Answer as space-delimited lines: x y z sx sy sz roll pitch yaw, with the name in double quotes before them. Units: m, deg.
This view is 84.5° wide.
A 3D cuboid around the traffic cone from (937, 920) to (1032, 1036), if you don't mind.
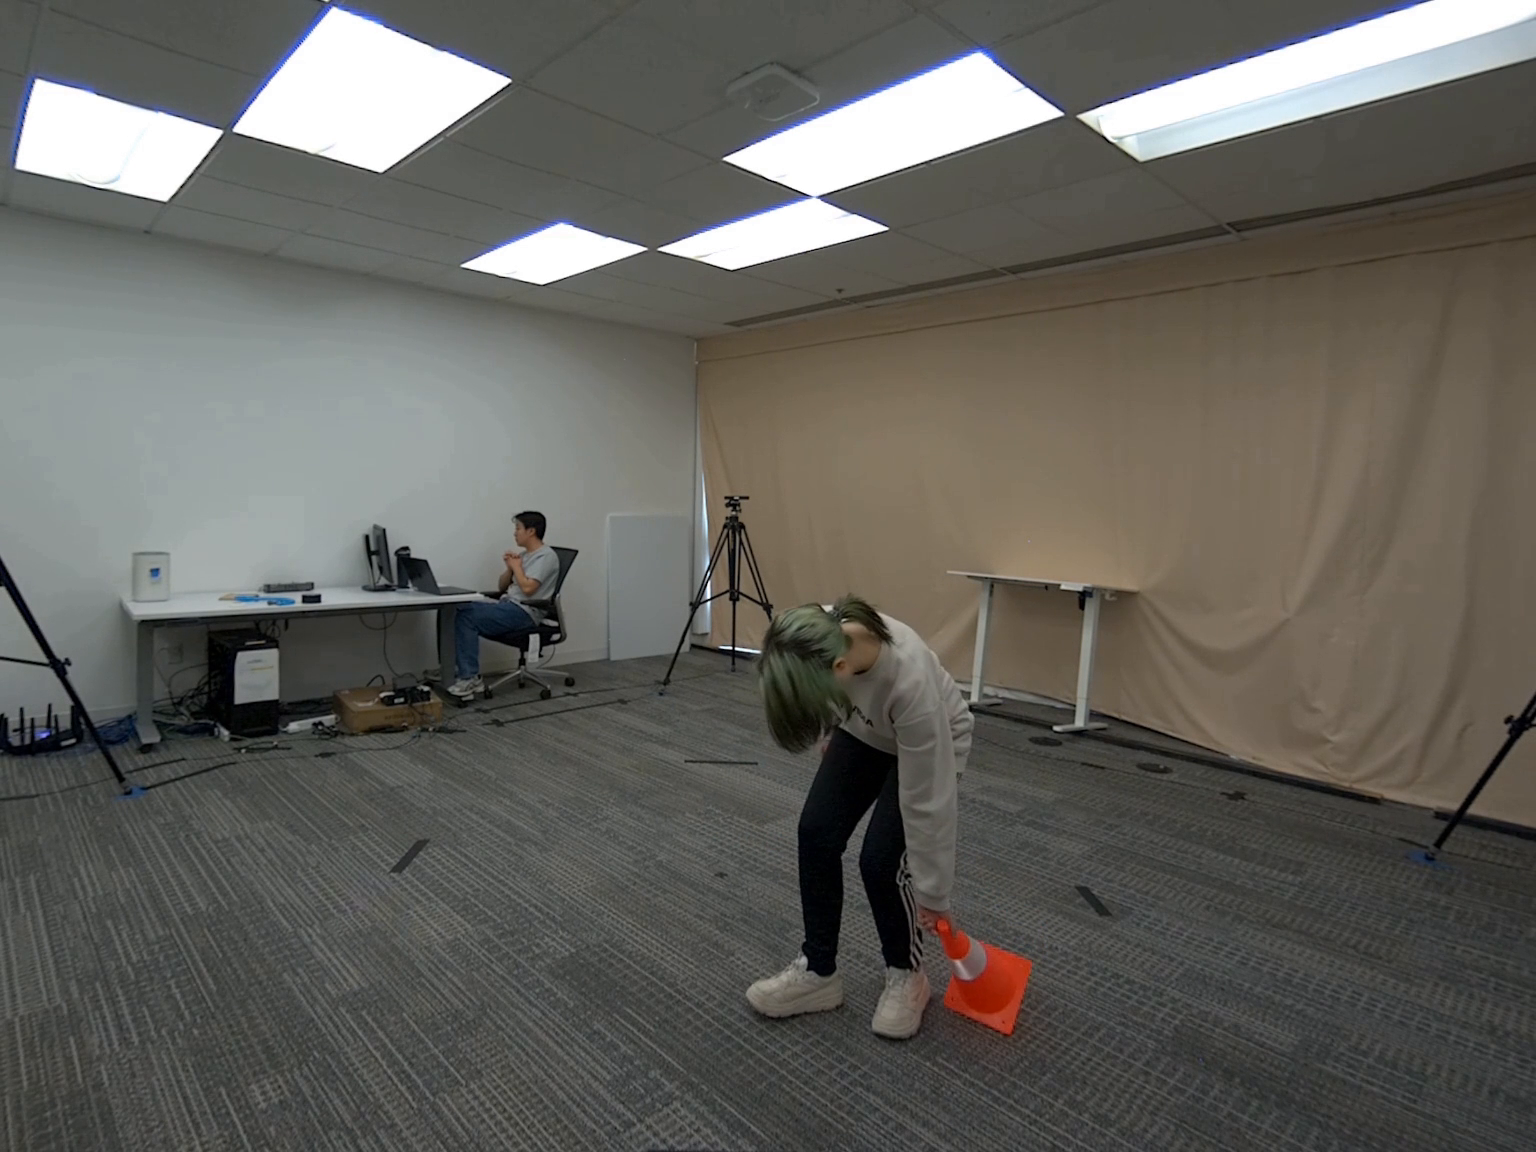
"traffic cone" 0.510 1.006 2.190 0.210 0.204 0.372 8 -36 43
